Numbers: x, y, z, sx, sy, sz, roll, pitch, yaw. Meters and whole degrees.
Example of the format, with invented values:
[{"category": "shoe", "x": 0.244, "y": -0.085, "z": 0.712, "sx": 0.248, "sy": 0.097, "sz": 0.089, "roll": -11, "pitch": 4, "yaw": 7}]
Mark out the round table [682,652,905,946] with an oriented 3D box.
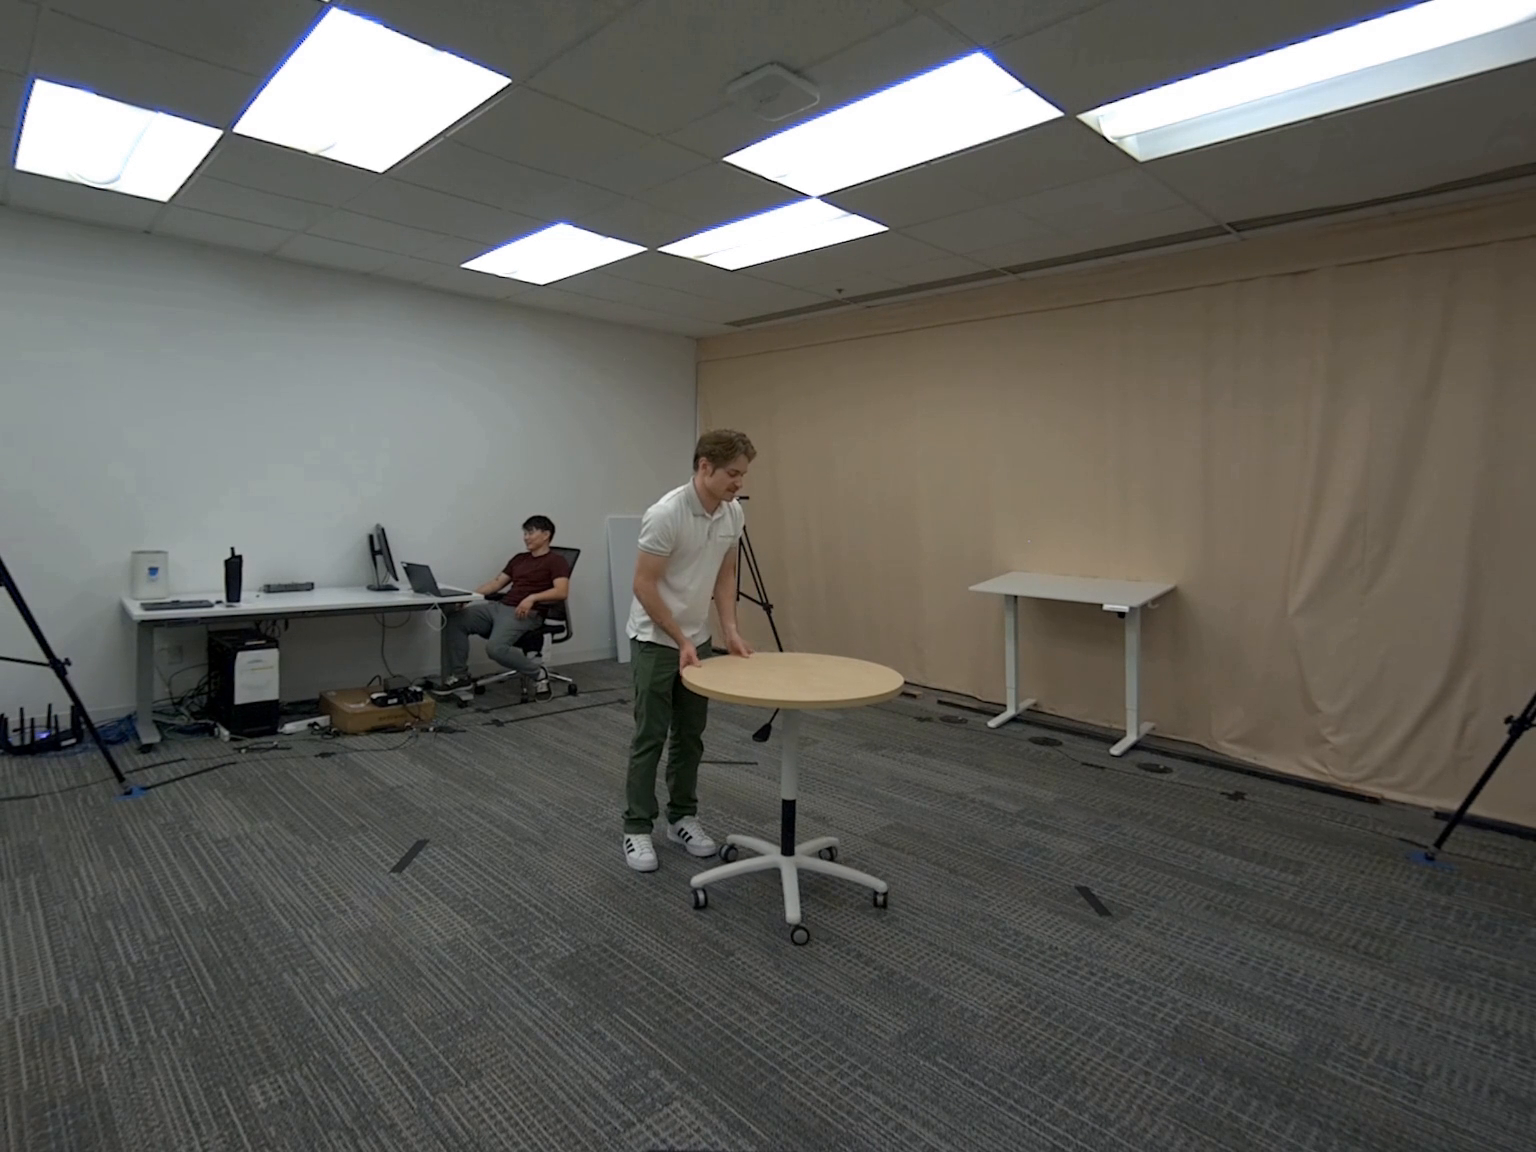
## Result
[{"category": "round table", "x": 0.072, "y": 0.733, "z": 2.954, "sx": 0.763, "sy": 0.791, "sz": 0.767, "roll": 1, "pitch": 5, "yaw": -1}]
